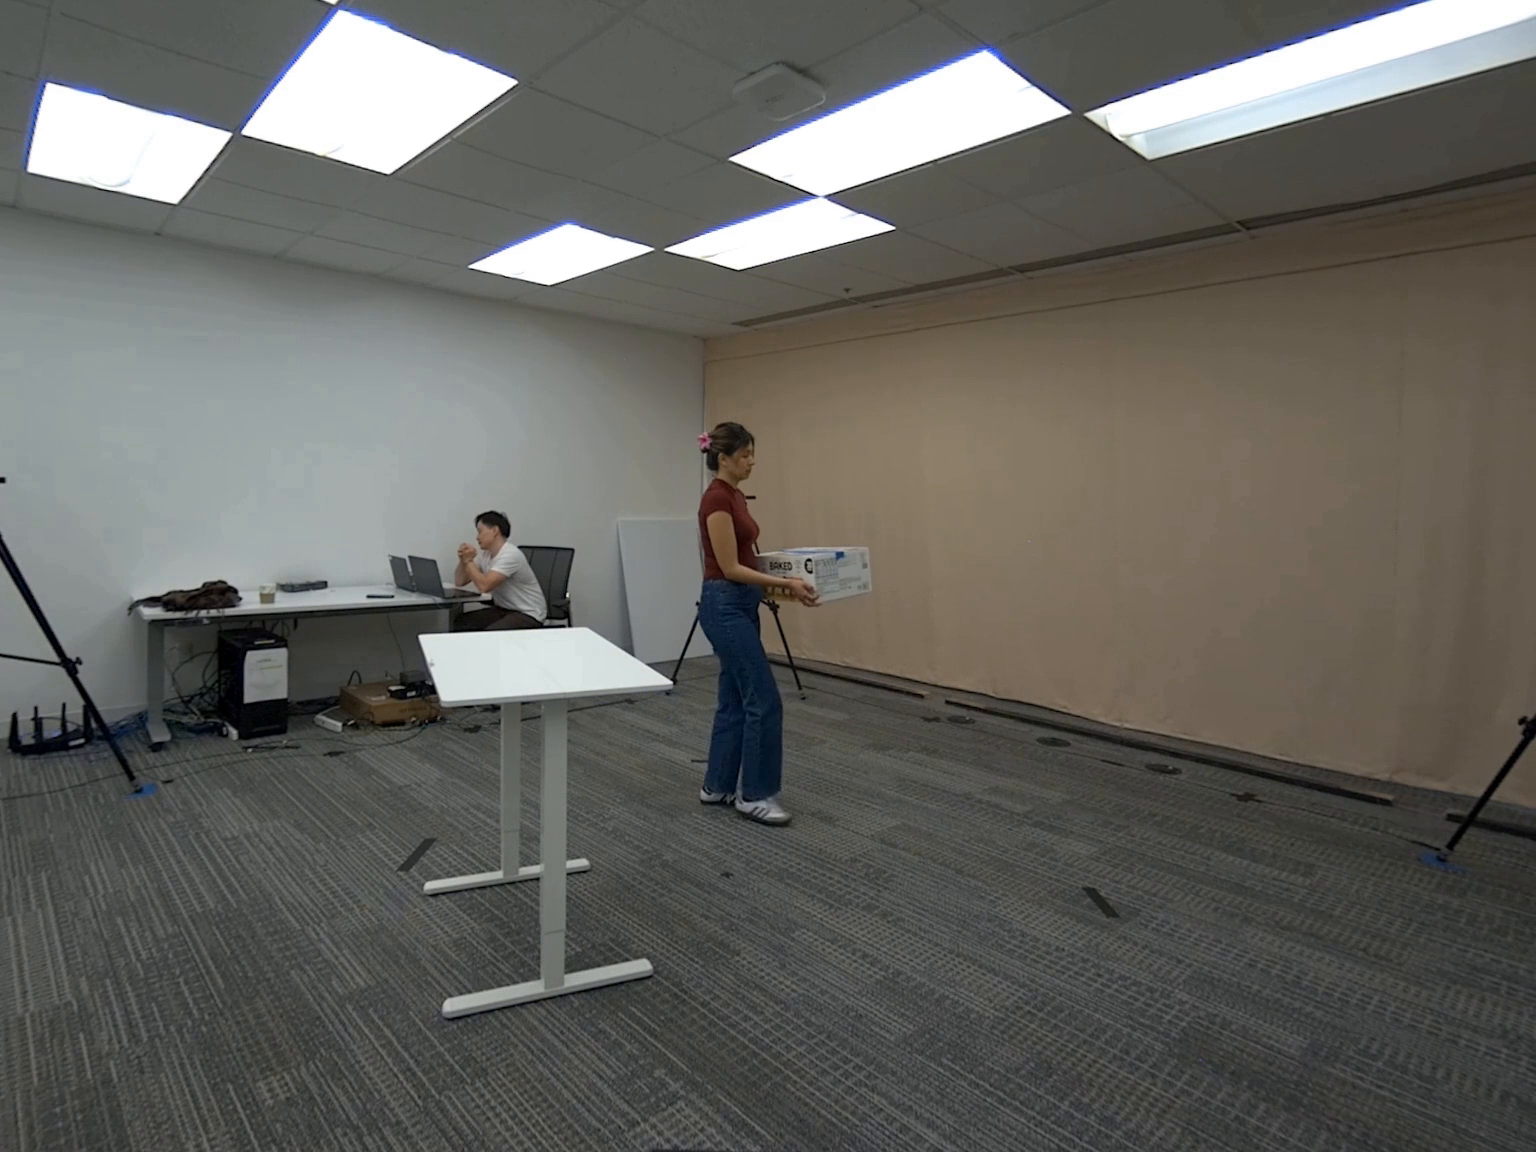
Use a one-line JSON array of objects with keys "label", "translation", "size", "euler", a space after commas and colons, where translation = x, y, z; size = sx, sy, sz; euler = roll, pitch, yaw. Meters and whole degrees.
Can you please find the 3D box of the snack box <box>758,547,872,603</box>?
[{"label": "snack box", "translation": [0.183, -0.010, 3.758], "size": [0.334, 0.205, 0.415], "euler": [-10, 8, -38]}]
